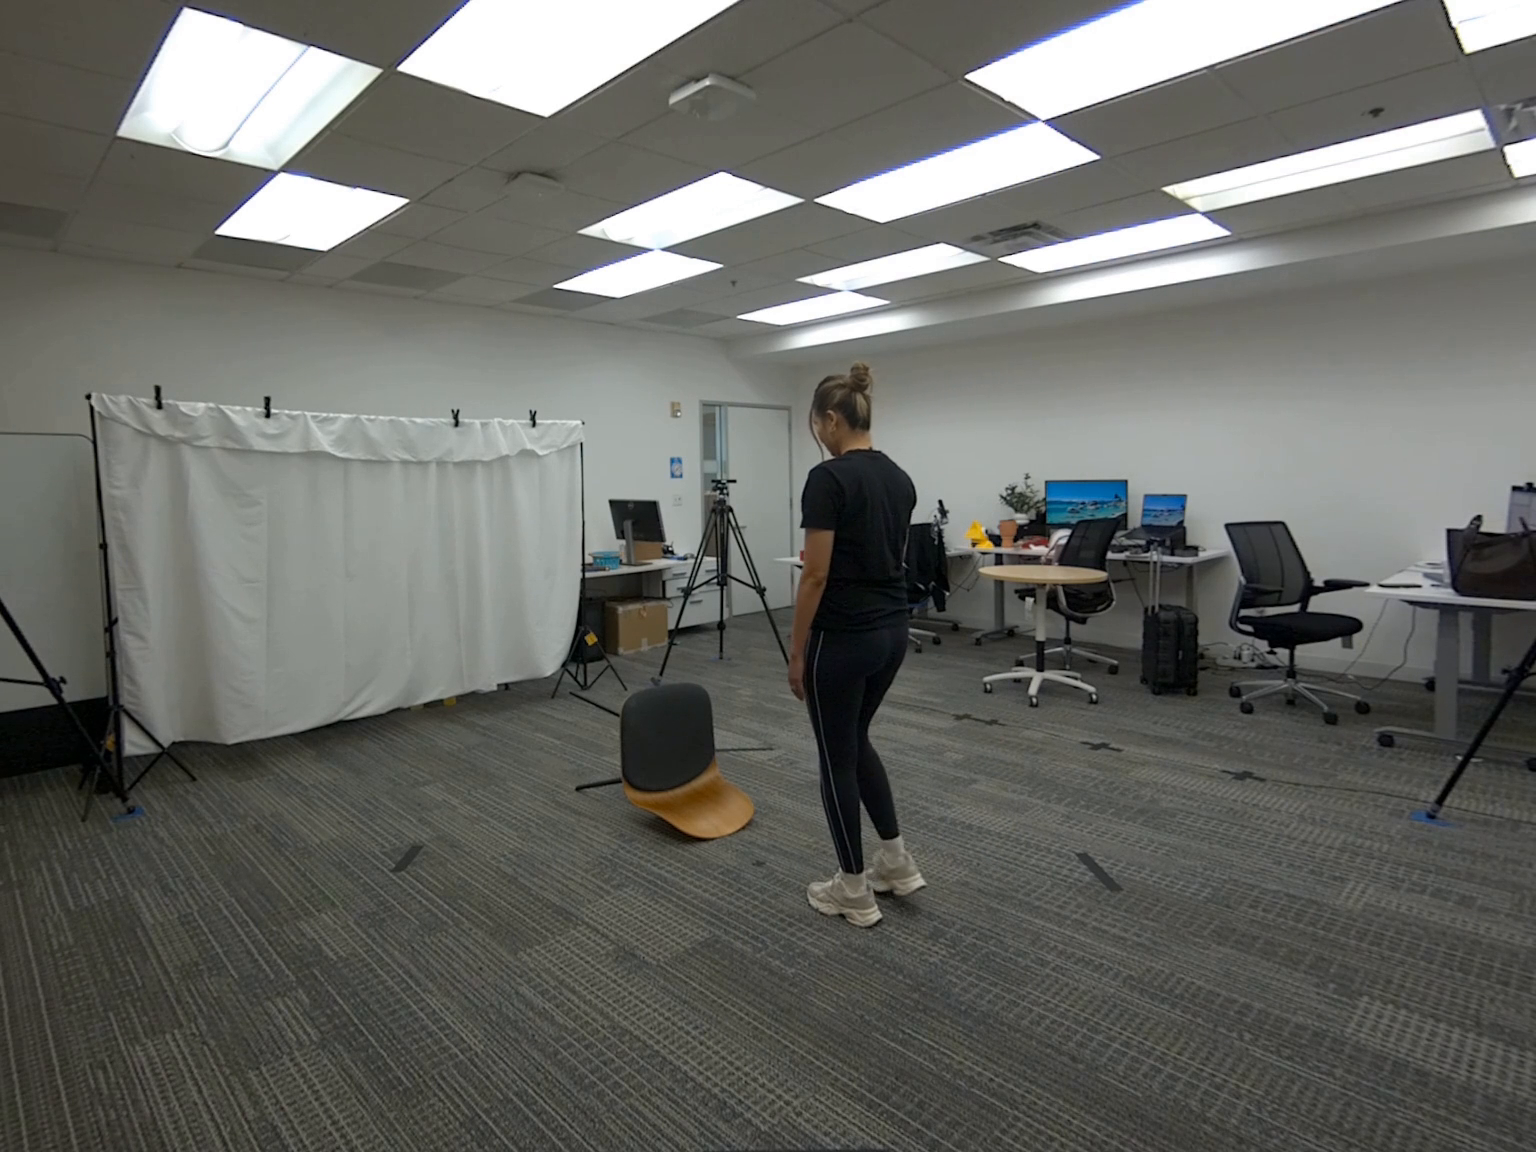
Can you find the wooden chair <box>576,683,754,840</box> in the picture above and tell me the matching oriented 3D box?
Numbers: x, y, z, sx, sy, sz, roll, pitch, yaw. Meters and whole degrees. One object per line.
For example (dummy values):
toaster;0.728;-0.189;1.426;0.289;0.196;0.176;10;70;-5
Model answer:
wooden chair;-0.449;0.731;3.677;0.466;0.521;0.904;-4;7;-38
